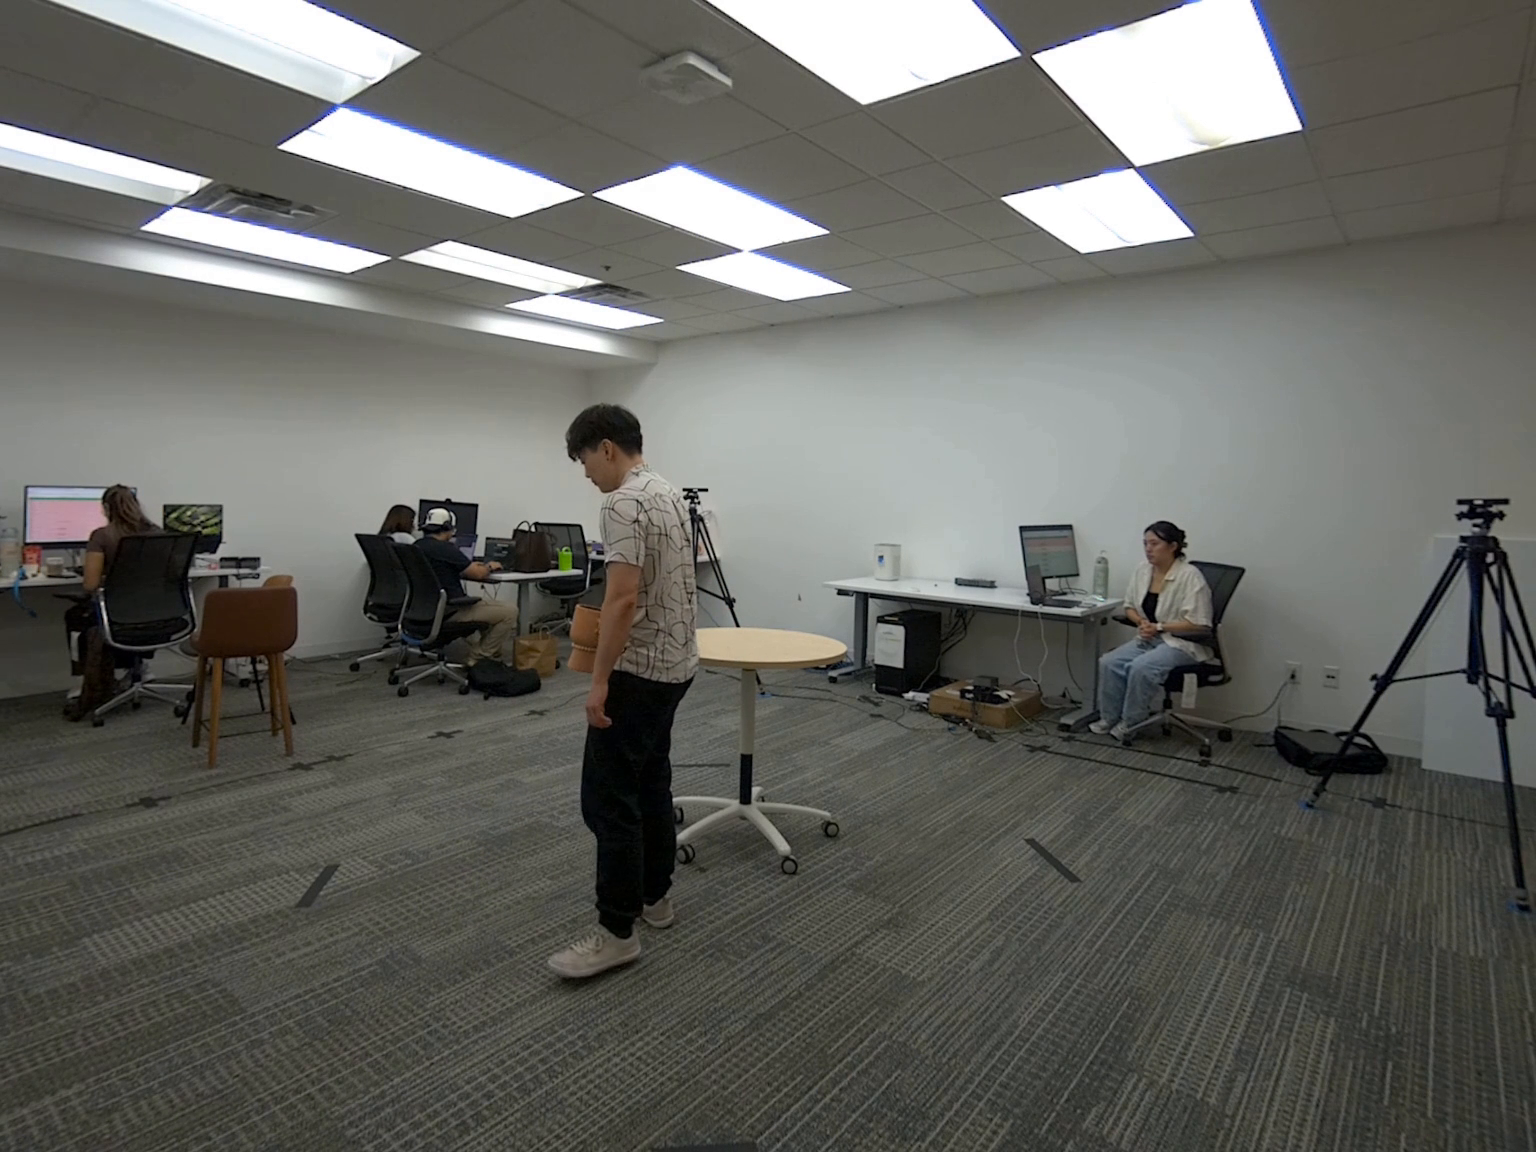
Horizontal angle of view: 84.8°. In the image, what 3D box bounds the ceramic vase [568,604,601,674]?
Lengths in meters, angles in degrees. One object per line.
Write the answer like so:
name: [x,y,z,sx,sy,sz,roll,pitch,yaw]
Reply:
ceramic vase: [-0.646,0.223,3.002,0.136,0.220,0.157,13,1,7]
